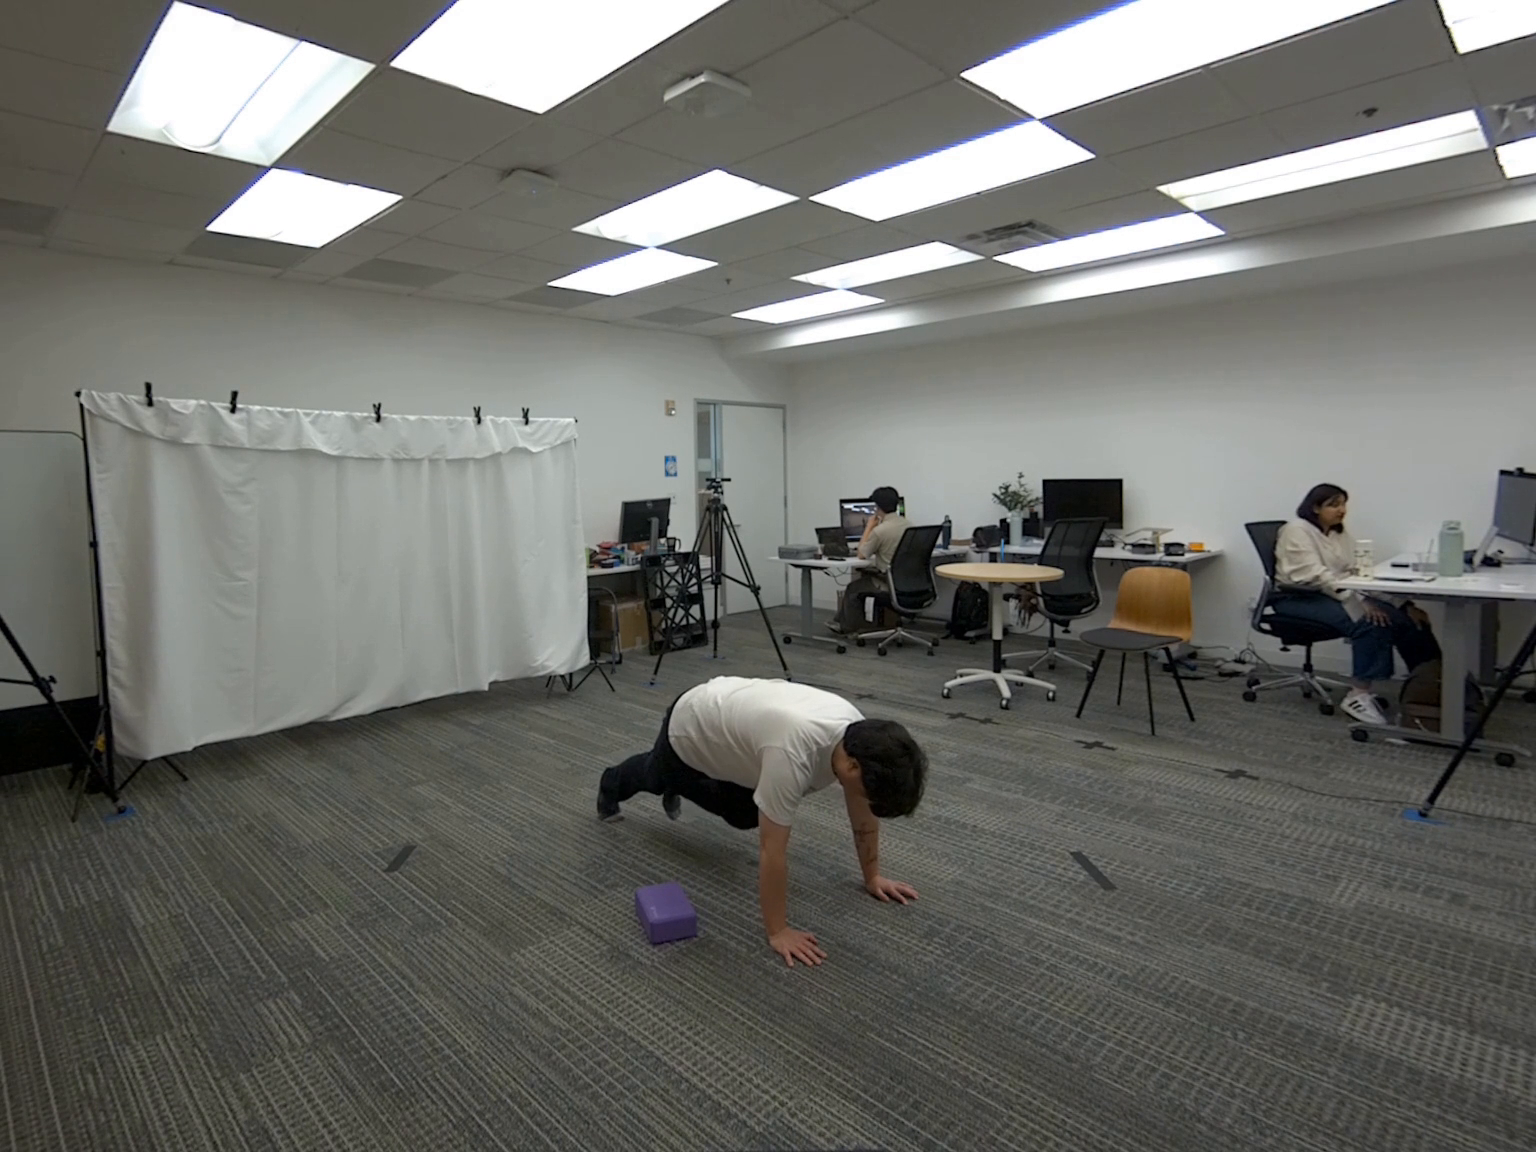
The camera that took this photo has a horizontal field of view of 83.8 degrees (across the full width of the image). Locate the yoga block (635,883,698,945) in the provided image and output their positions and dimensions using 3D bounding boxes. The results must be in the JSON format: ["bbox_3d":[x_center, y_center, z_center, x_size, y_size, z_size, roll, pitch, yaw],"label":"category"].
[{"bbox_3d":[-0.316,1.058,2.687,0.147,0.076,0.234,-2,6,-18],"label":"yoga block"}]
